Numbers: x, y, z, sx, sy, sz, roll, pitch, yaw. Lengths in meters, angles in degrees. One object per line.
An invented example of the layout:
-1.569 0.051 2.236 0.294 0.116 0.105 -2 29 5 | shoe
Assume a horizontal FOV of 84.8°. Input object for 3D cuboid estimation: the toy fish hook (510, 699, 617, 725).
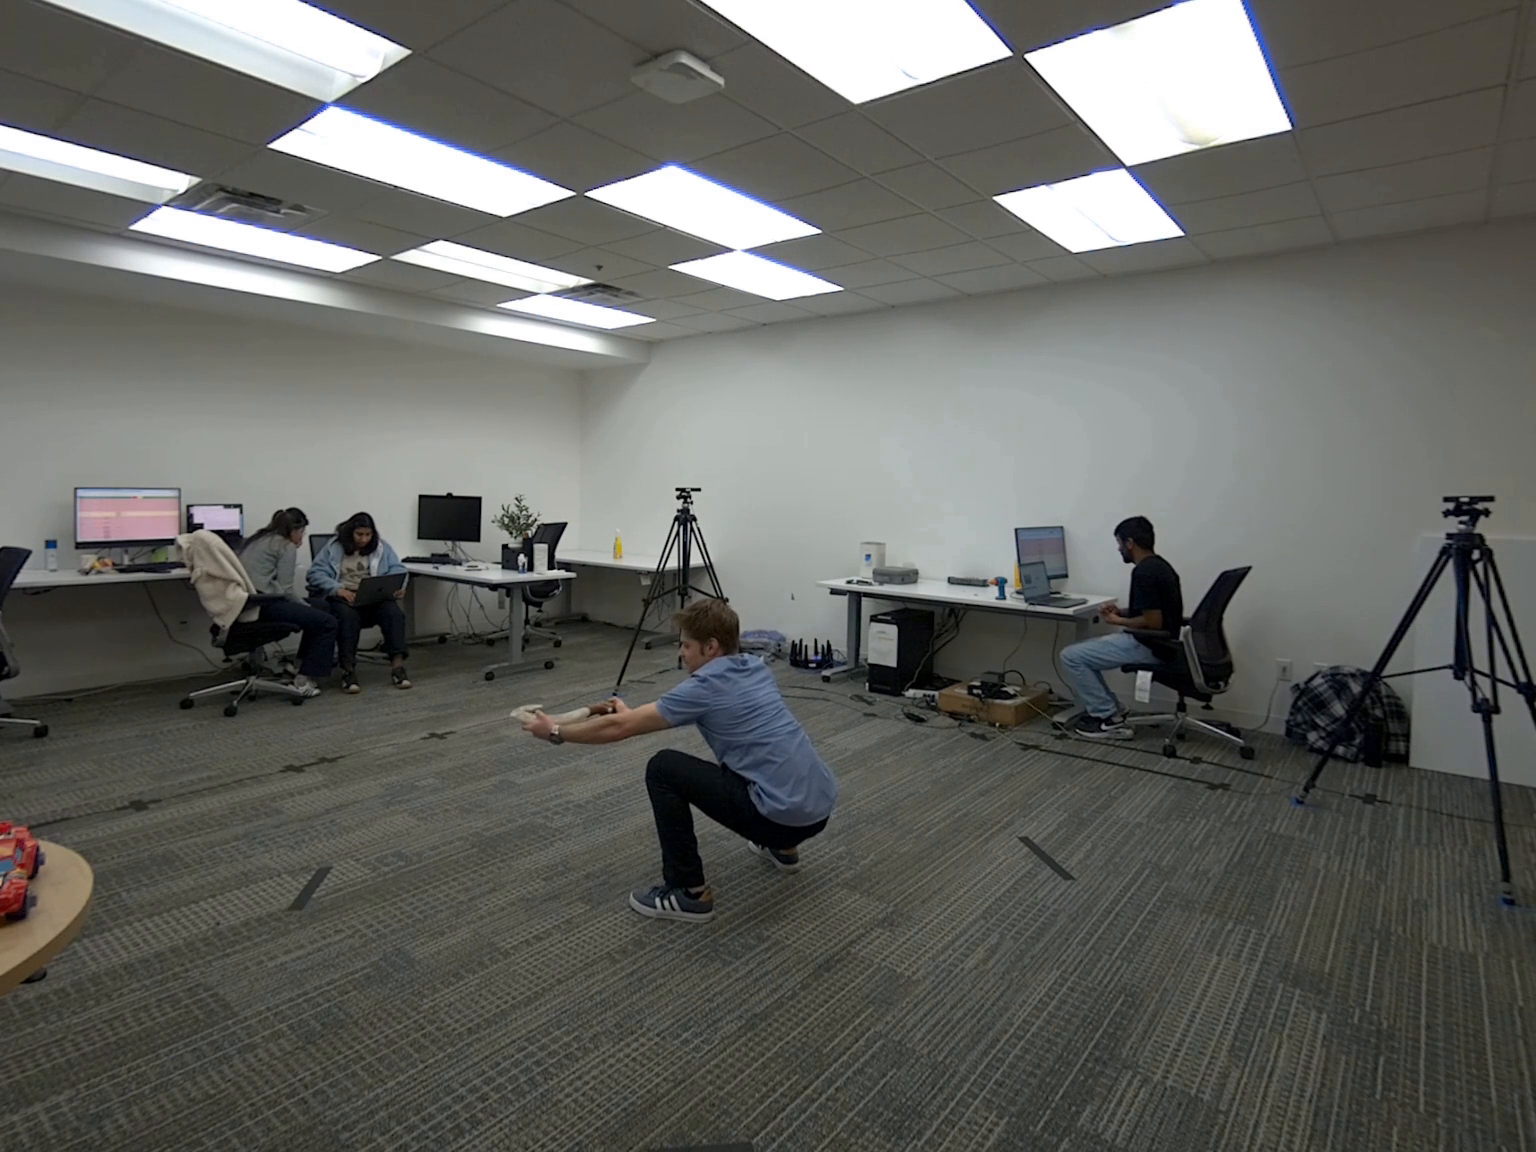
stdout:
-0.769 0.511 3.230 0.232 0.048 0.491 13 6 30 | toy fish hook
